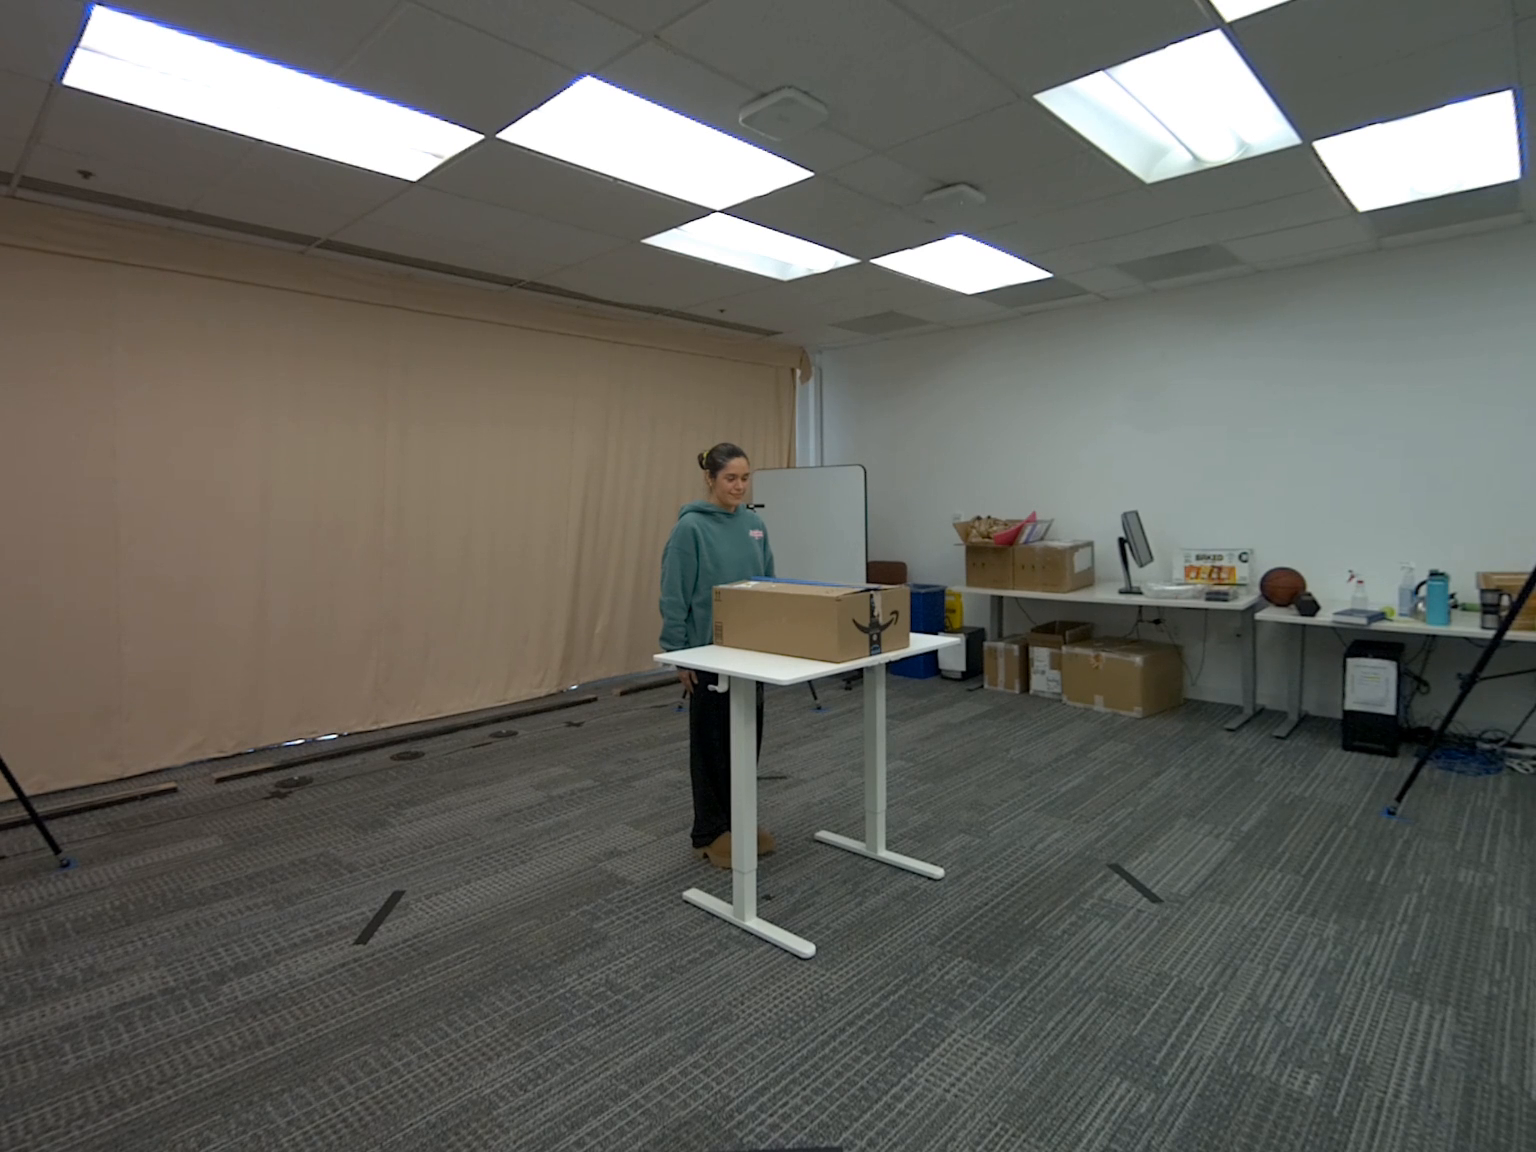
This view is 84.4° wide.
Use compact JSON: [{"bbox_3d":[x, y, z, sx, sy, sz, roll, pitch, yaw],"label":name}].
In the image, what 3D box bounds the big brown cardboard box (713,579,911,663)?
[{"bbox_3d":[0.151,0.143,3.010,0.609,0.232,0.405,5,7,43],"label":"big brown cardboard box"}]
